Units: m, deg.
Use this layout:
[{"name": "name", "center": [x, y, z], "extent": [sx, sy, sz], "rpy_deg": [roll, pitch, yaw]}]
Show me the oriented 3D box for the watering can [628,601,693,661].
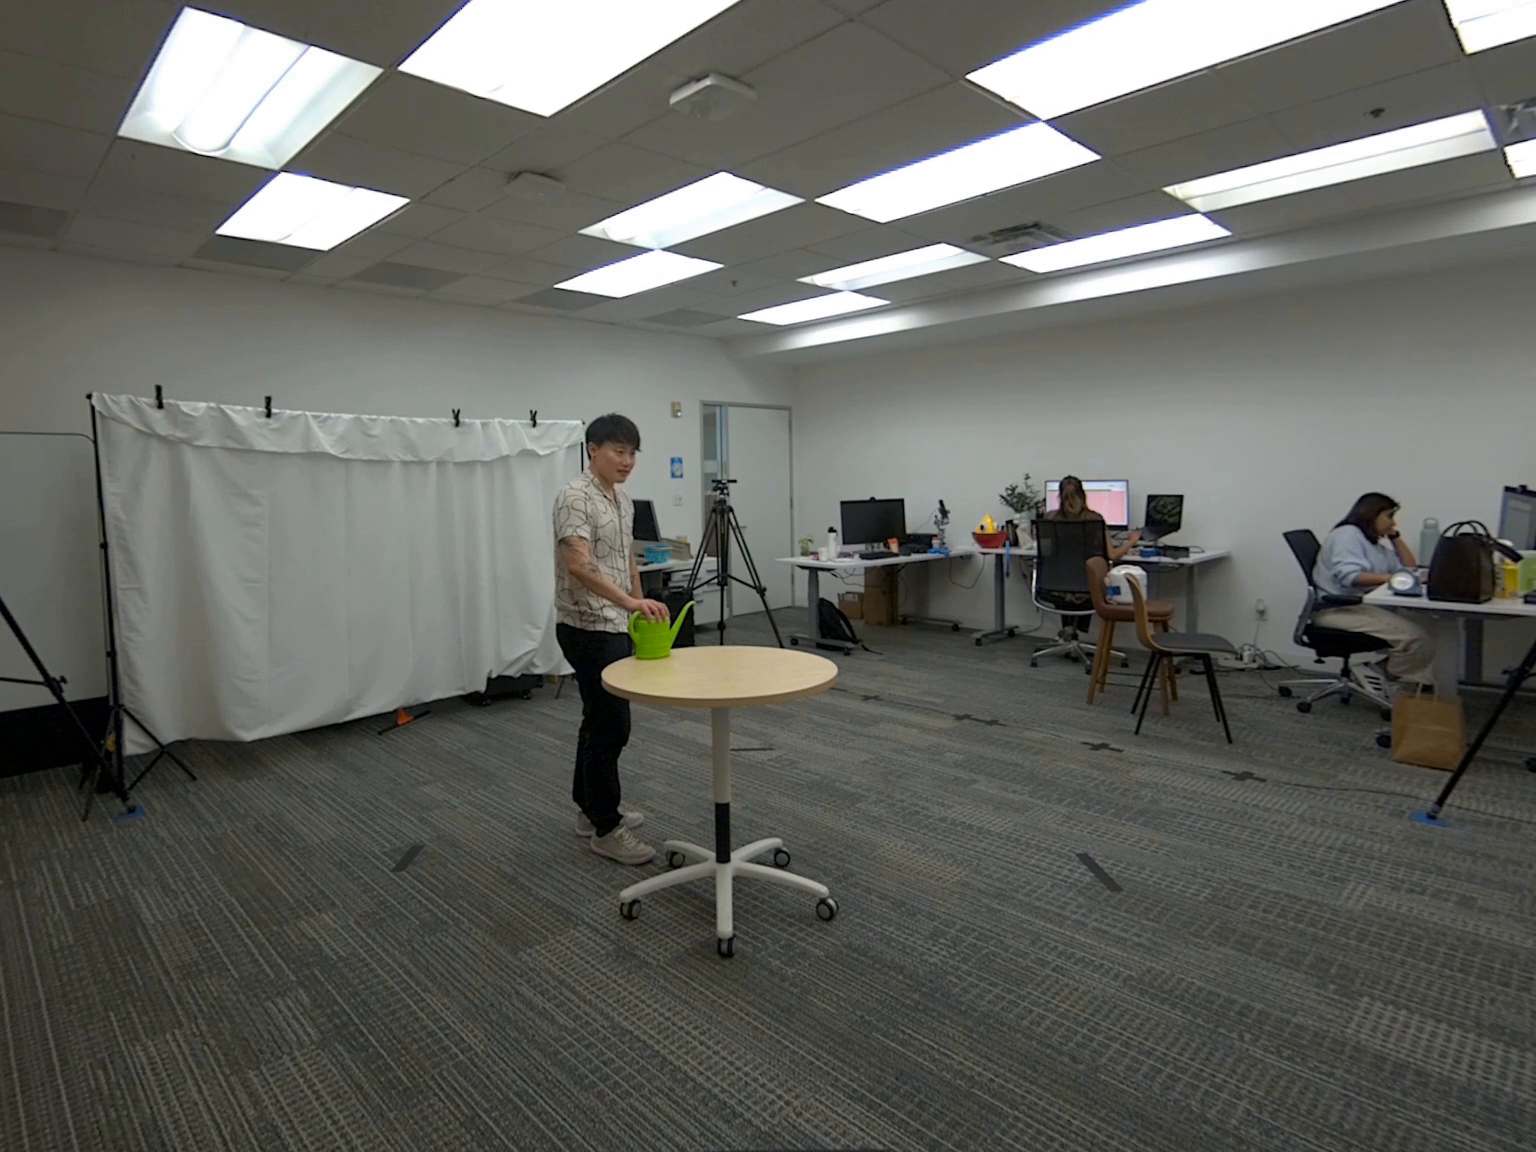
[{"name": "watering can", "center": [-0.360, 0.194, 3.013], "extent": [0.272, 0.175, 0.101], "rpy_deg": [-6, 11, -26]}]
